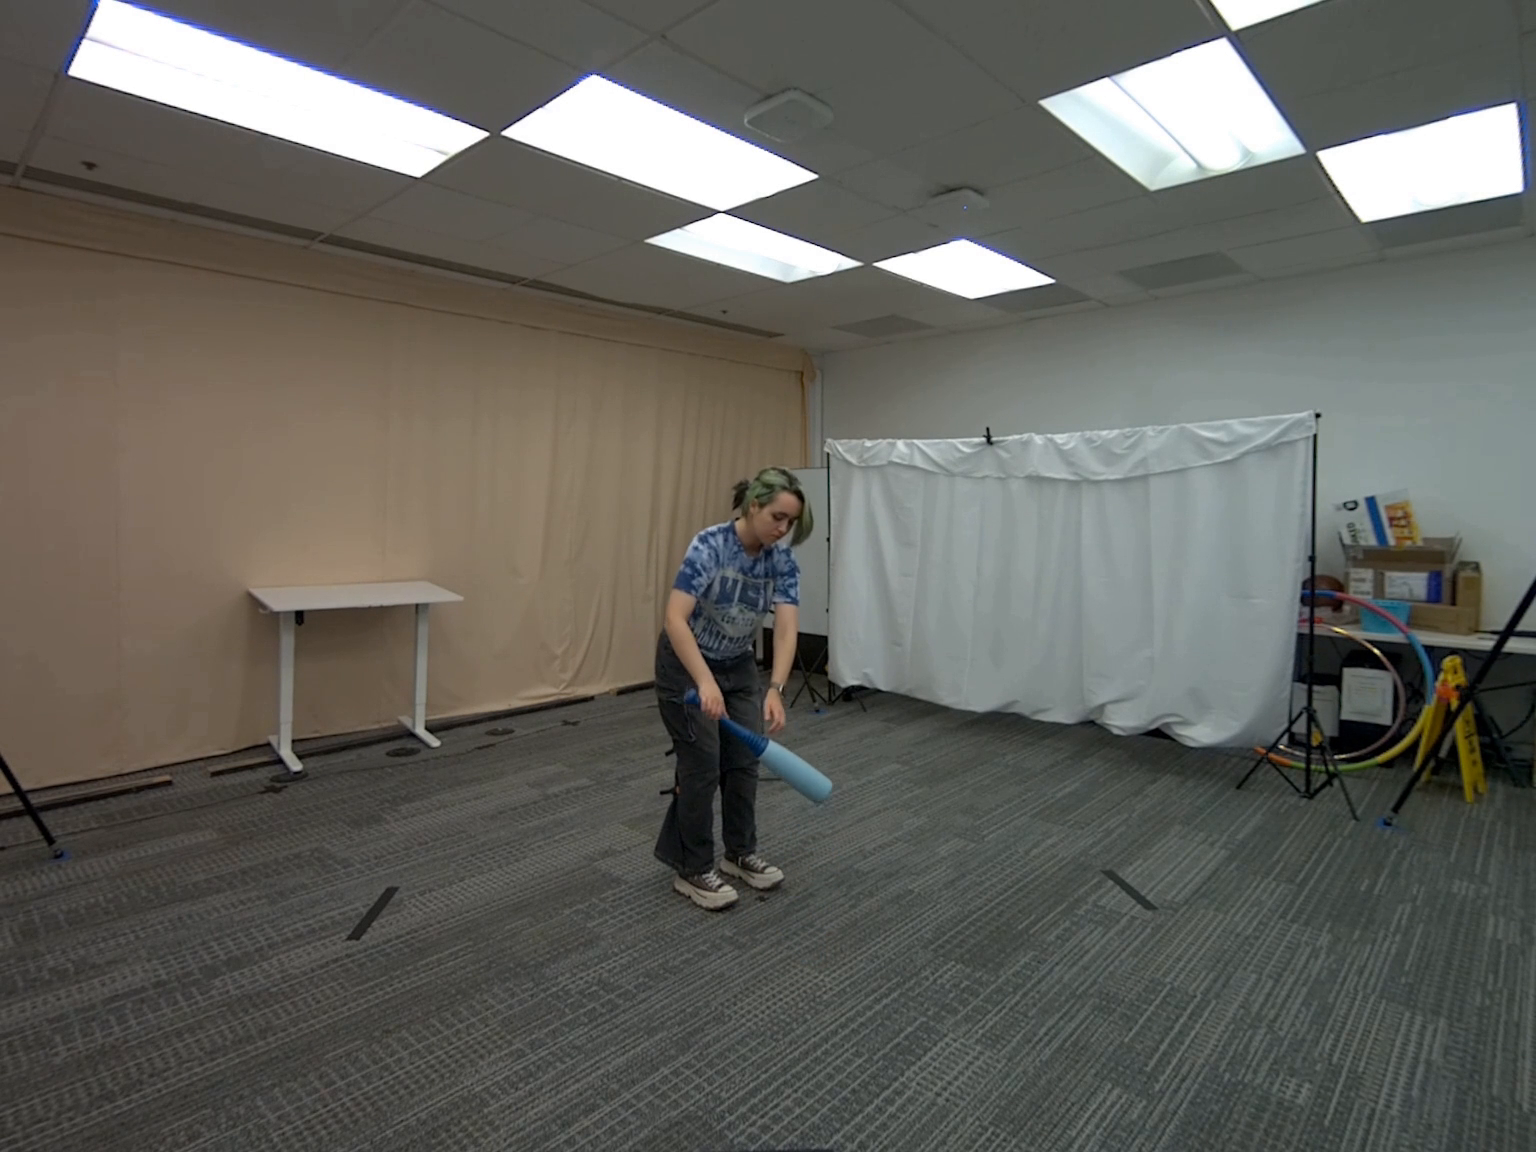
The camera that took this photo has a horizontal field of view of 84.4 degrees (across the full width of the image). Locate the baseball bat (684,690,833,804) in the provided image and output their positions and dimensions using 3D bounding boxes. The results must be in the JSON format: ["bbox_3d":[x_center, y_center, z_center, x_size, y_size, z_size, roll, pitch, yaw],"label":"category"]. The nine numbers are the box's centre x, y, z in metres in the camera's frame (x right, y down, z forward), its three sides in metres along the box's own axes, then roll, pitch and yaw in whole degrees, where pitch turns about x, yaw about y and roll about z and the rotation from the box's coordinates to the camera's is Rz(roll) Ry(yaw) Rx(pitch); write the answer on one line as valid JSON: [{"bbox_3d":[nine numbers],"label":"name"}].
[{"bbox_3d":[-0.029,0.526,2.592,0.538,0.089,0.090,37,-2,-7],"label":"baseball bat"}]
